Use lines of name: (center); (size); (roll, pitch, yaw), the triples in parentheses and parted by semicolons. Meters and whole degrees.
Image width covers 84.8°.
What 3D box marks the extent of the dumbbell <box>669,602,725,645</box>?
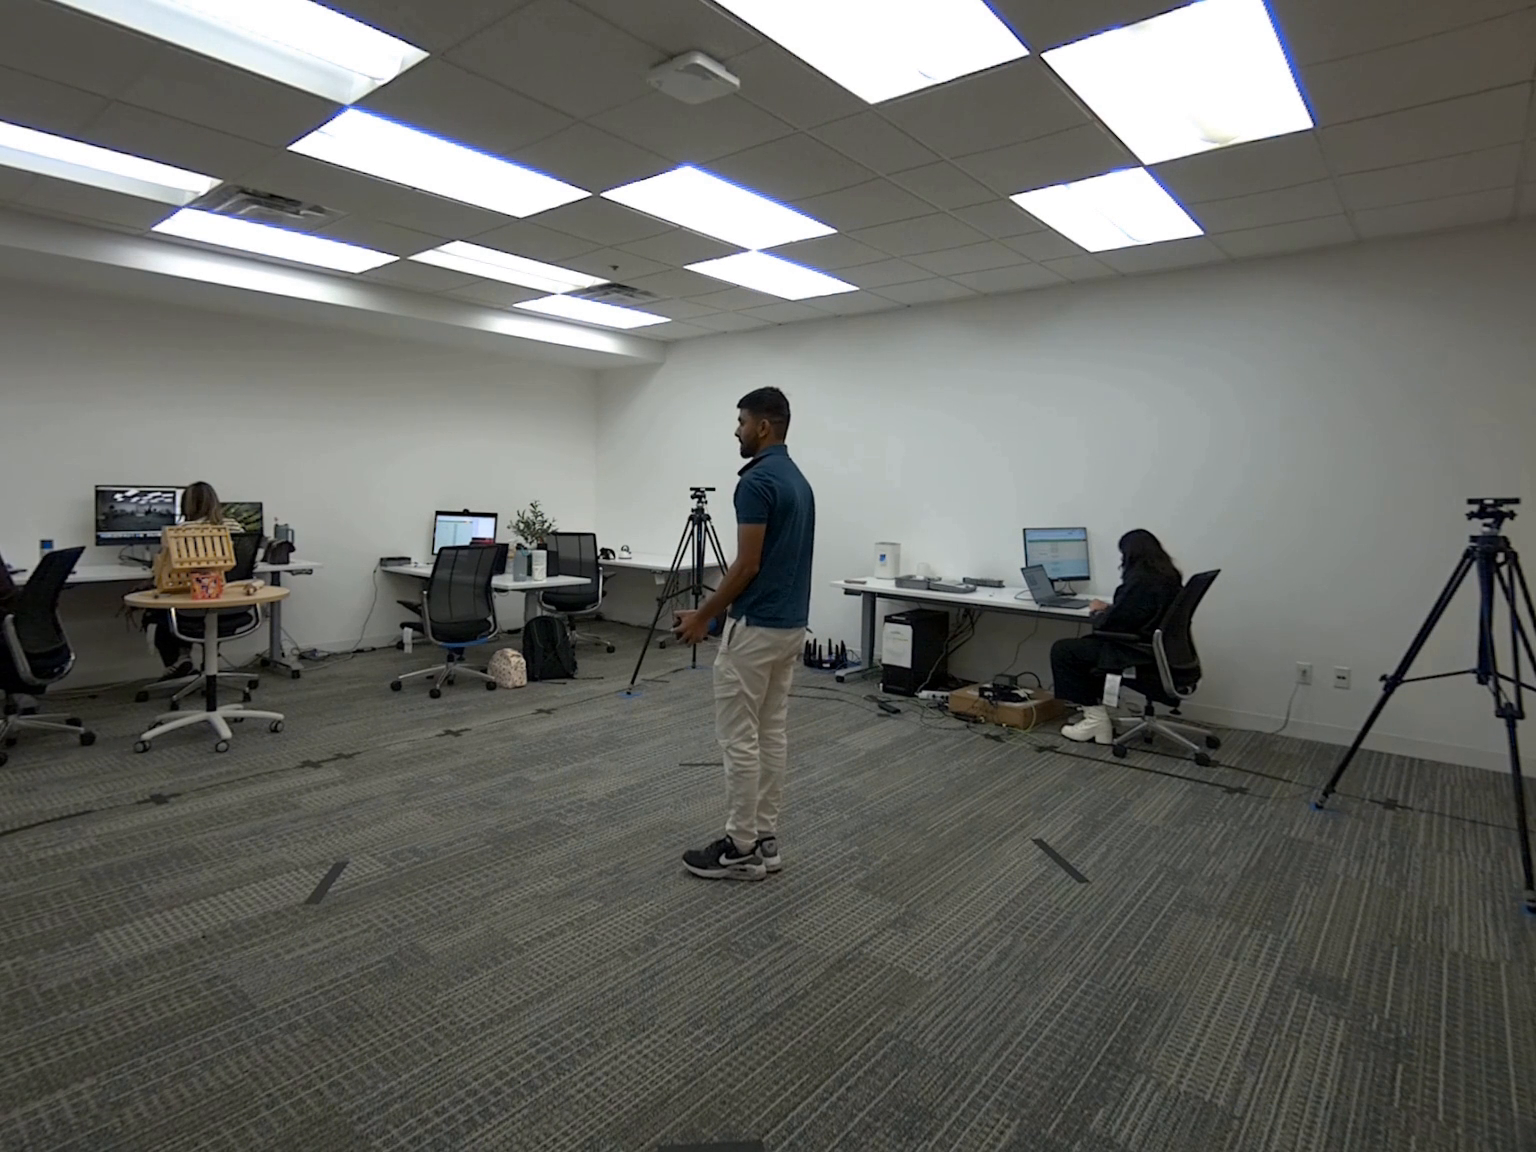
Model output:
dumbbell: (-0.249, 0.175, 3.243); (0.126, 0.108, 0.287); (12, 8, 22)
